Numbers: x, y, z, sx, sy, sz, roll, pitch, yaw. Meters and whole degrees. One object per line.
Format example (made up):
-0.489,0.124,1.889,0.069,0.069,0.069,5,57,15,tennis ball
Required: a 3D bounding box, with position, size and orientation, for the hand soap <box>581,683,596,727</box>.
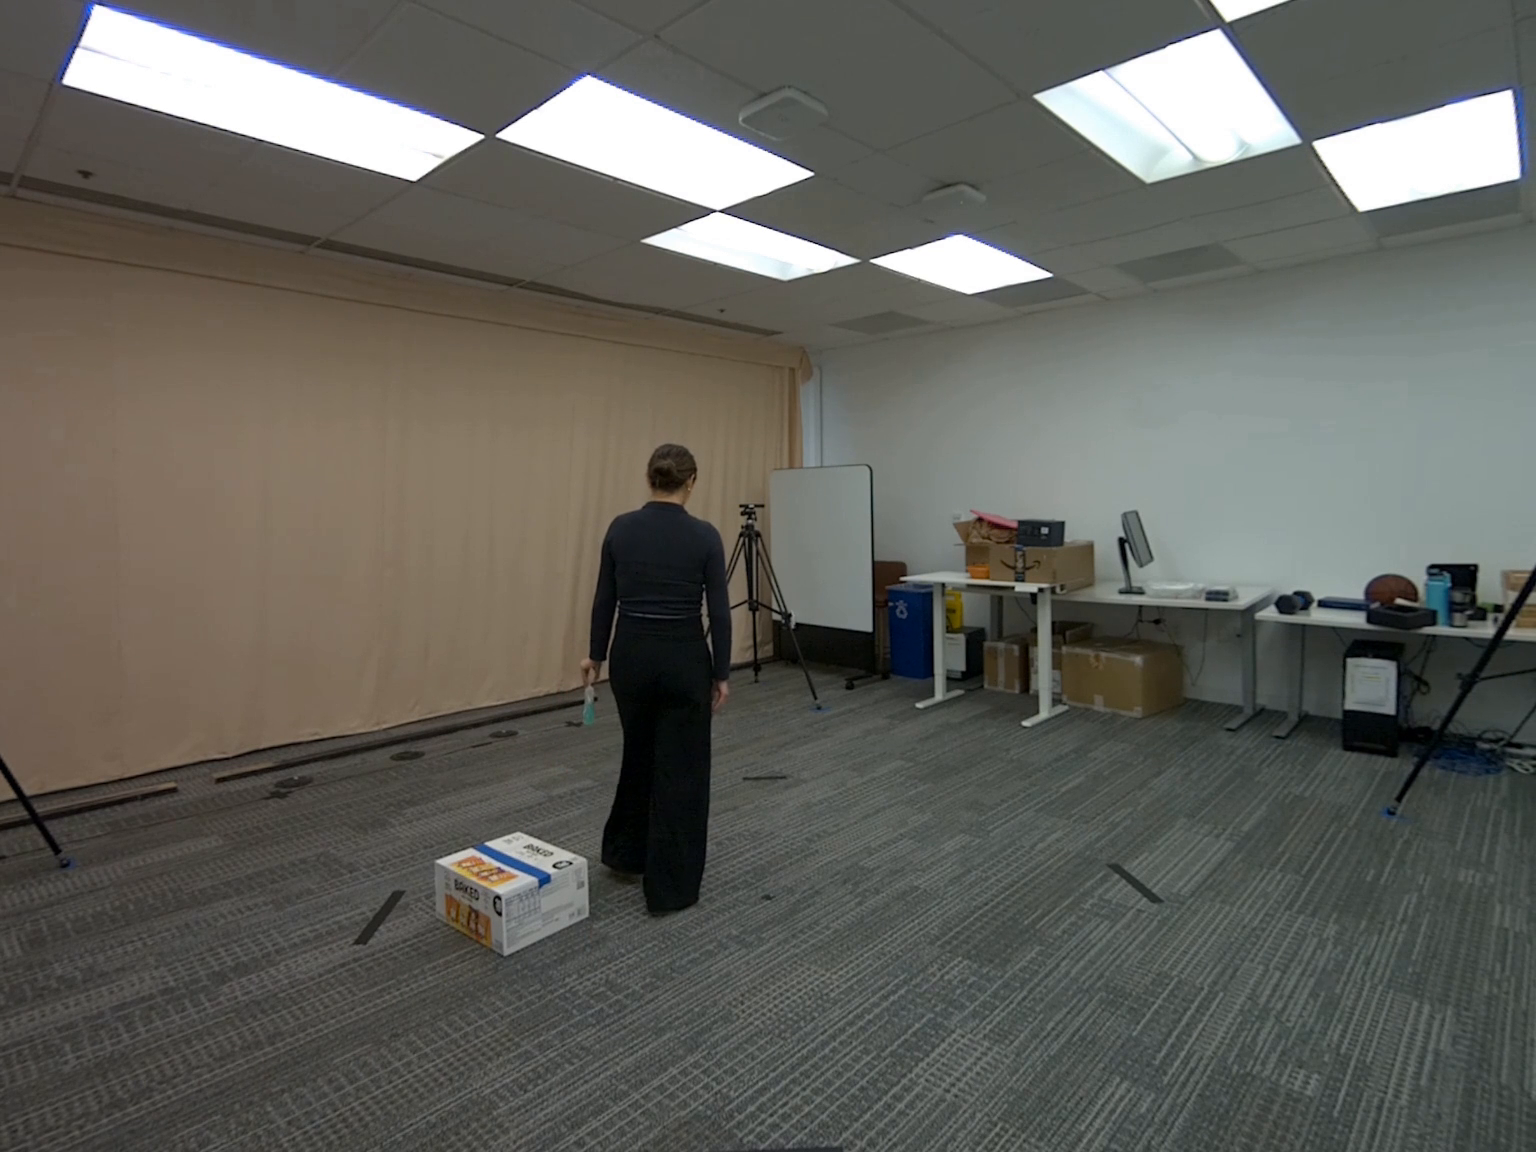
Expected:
-0.669,0.469,3.169,0.043,0.168,0.085,3,5,-4,hand soap
